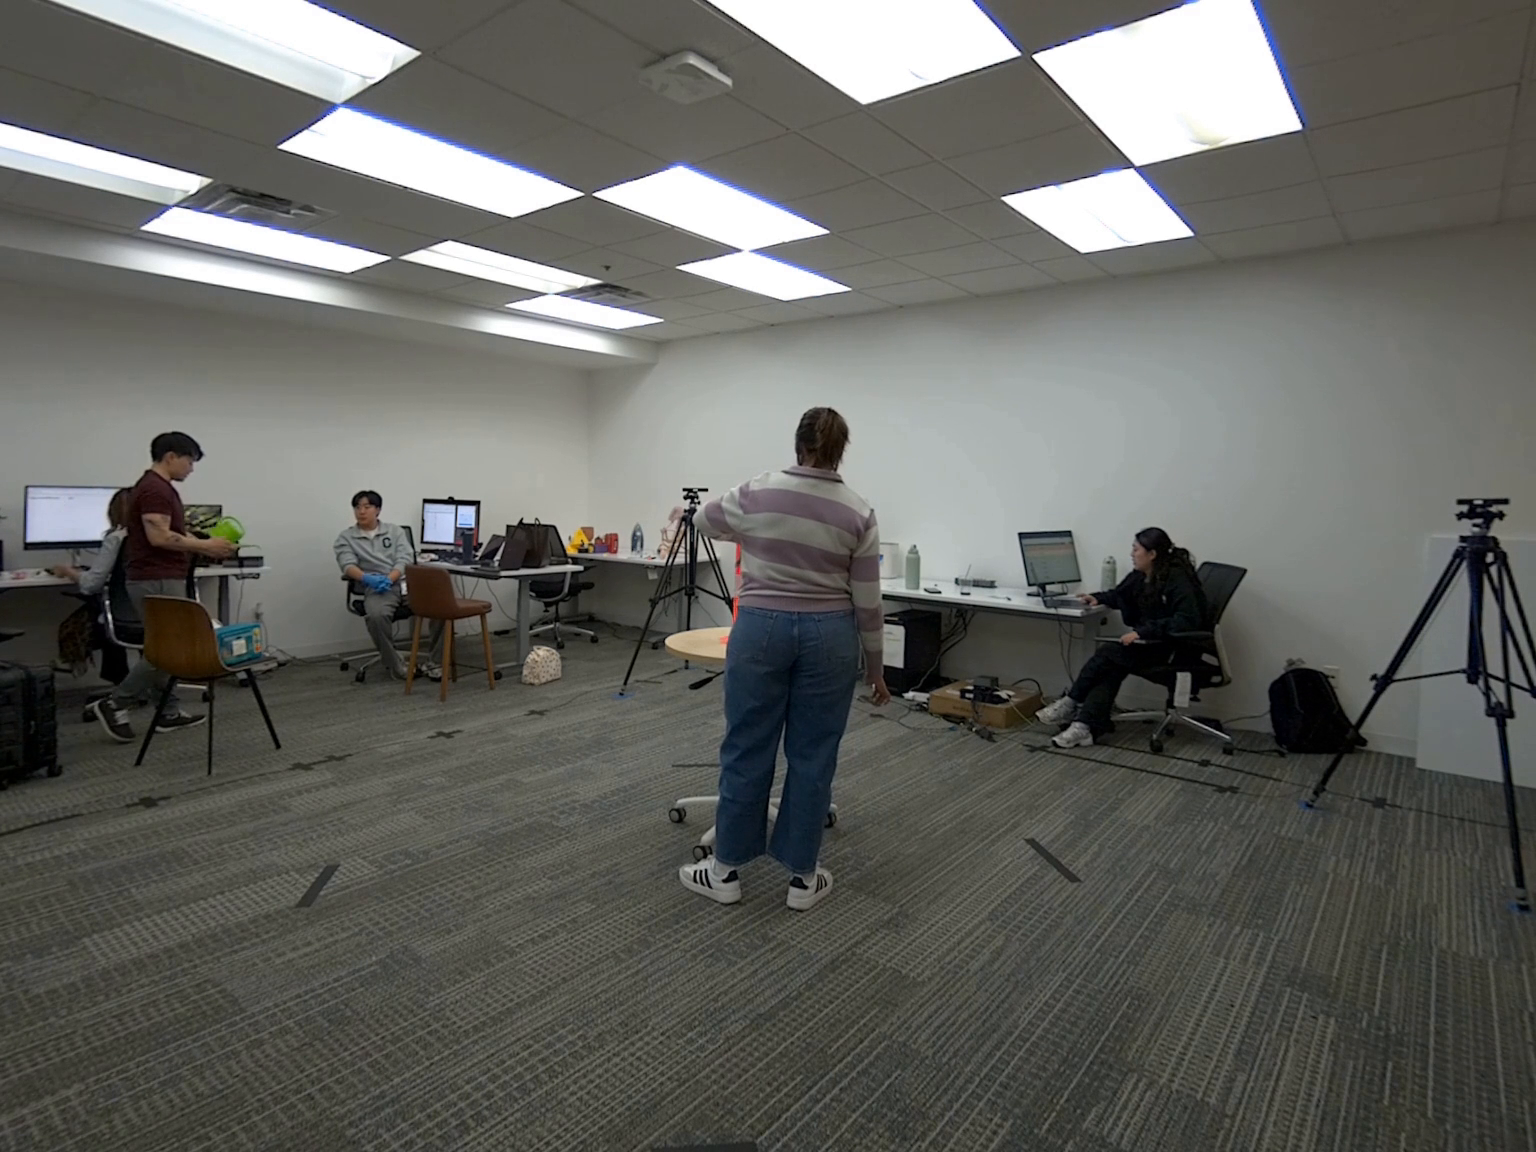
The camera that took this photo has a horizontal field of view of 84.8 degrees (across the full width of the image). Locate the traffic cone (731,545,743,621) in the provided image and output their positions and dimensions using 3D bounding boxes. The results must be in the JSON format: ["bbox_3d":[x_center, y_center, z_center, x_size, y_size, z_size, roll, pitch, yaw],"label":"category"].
[{"bbox_3d":[-0.094,0.046,3.340,0.198,0.382,0.211,-5,6,-29],"label":"traffic cone"}]
